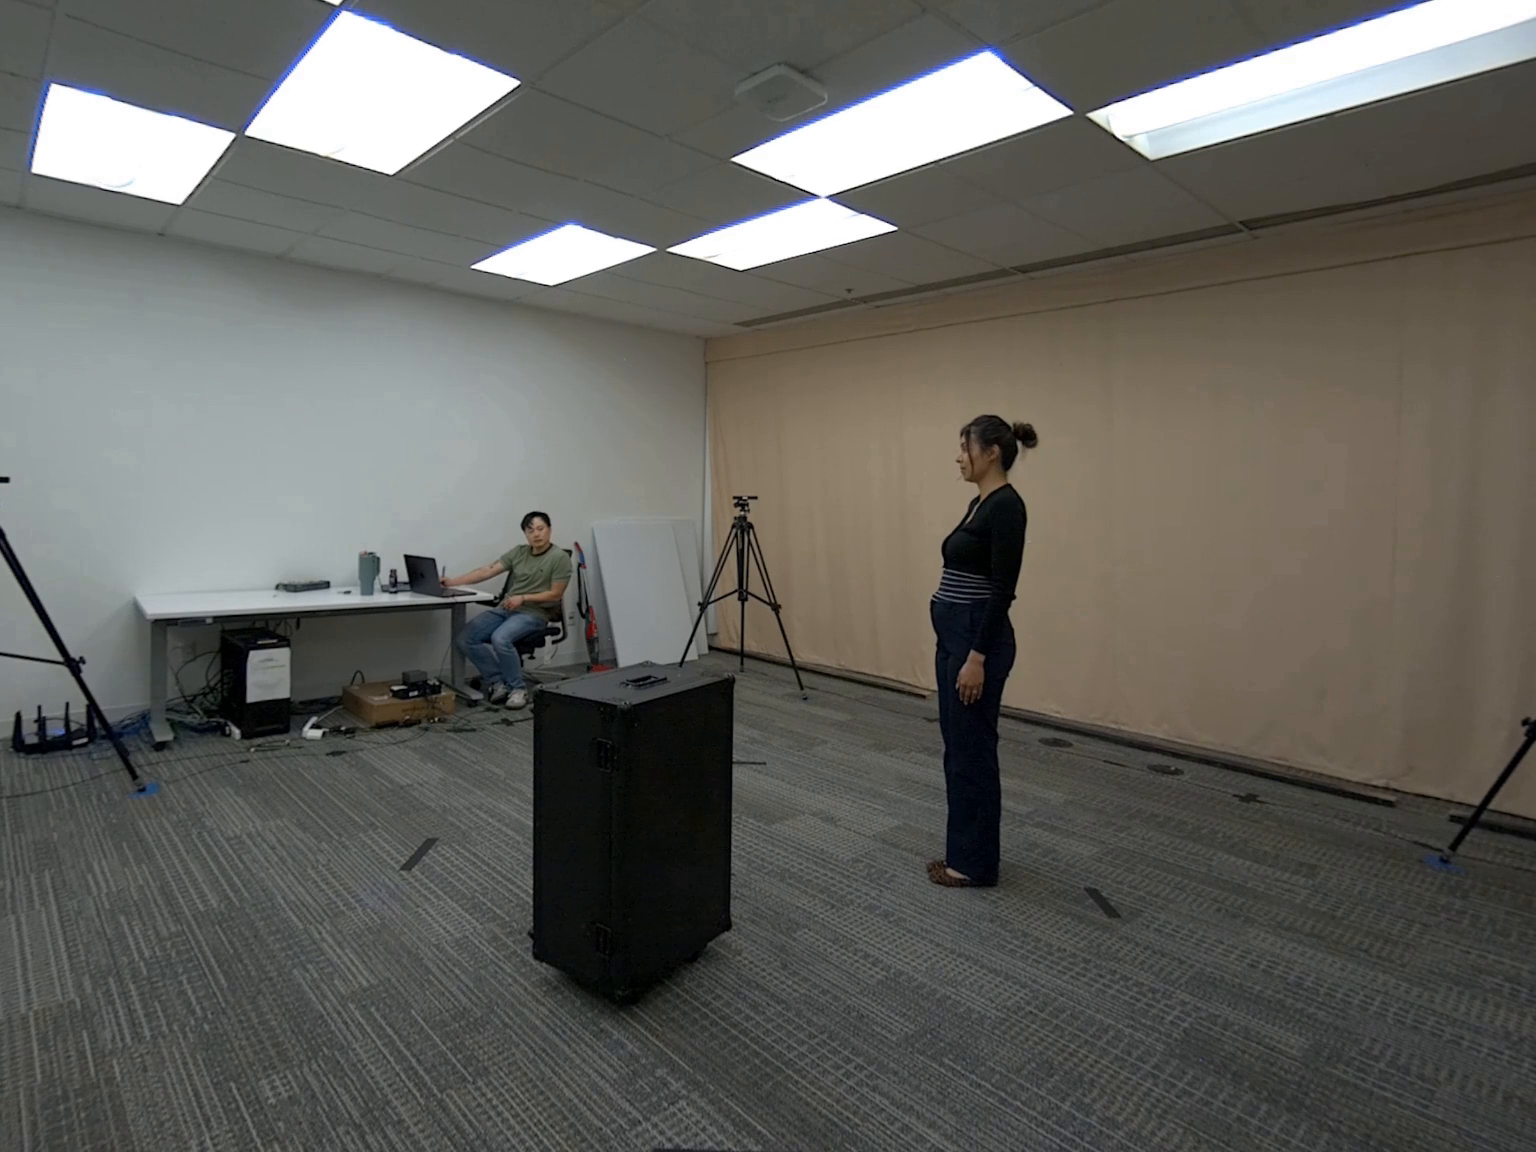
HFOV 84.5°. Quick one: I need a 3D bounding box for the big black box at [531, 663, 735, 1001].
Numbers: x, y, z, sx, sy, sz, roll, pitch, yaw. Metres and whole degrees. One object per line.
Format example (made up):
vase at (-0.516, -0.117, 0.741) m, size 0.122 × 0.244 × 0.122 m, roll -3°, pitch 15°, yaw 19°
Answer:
big black box at (-0.403, 0.731, 2.466) m, size 0.405 × 0.859 × 0.510 m, roll 2°, pitch 4°, yaw 35°
